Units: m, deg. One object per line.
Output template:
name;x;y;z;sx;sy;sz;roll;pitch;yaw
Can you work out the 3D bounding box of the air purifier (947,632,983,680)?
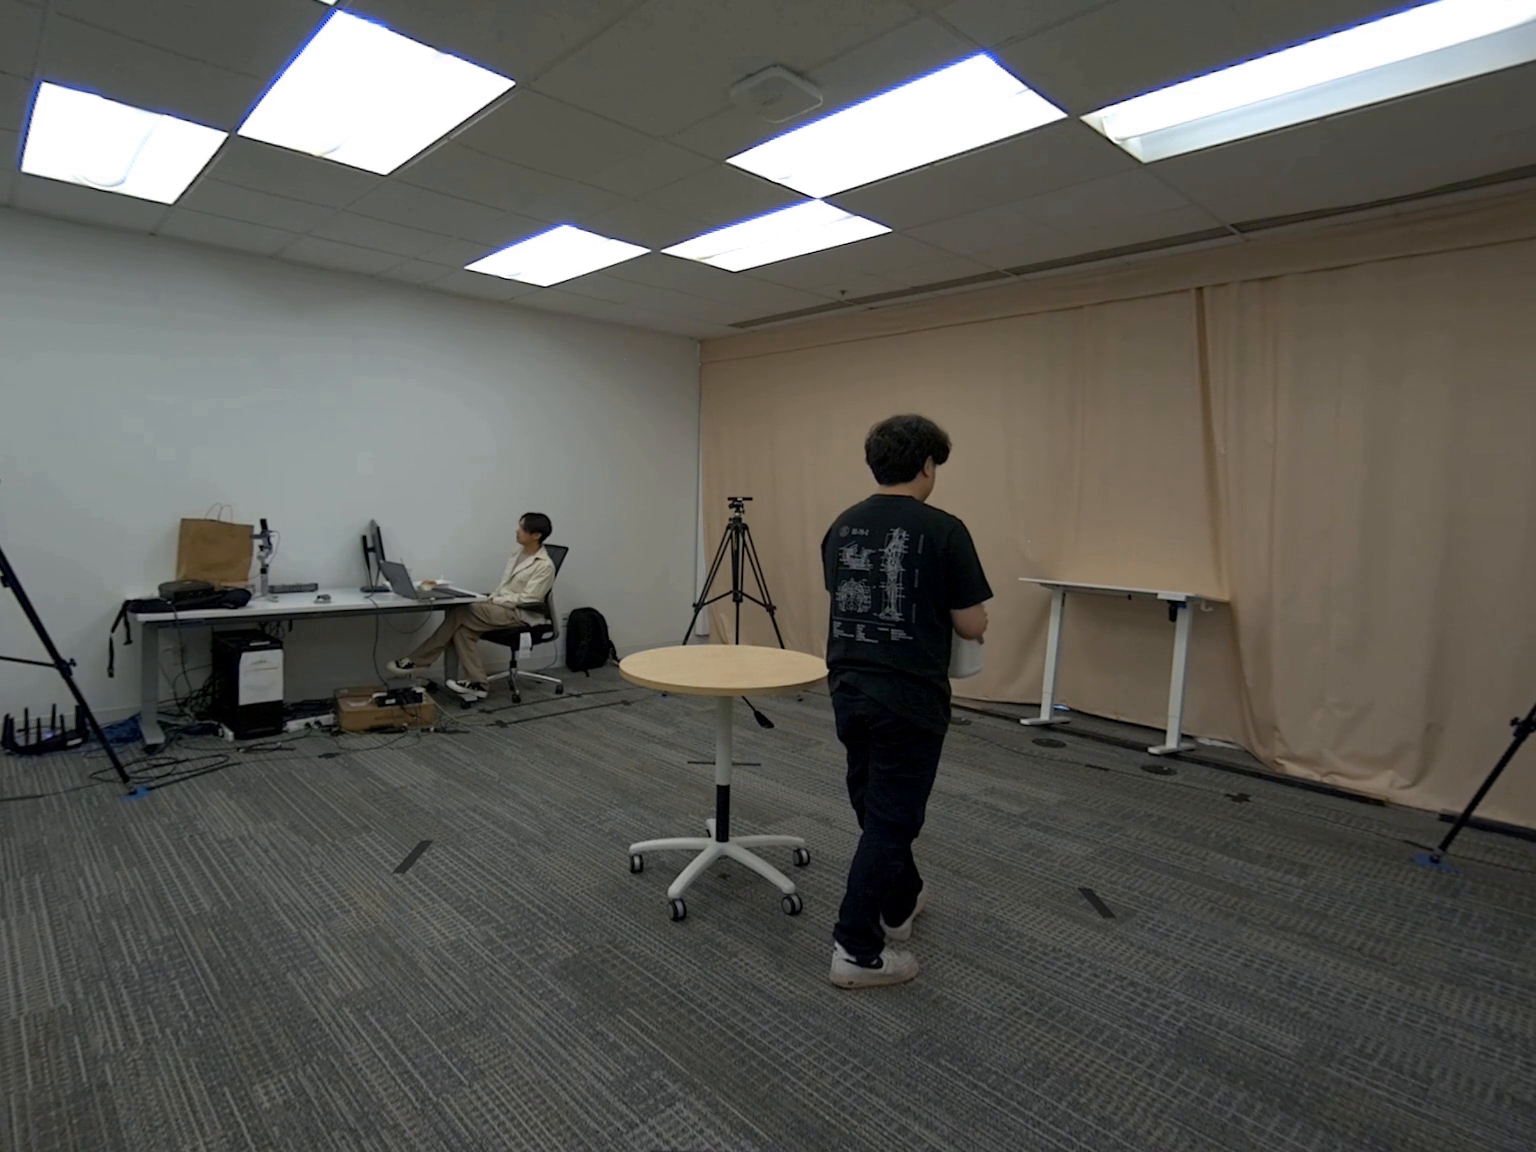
air purifier;0.580;0.194;2.759;0.175;0.264;0.168;4;7;45
